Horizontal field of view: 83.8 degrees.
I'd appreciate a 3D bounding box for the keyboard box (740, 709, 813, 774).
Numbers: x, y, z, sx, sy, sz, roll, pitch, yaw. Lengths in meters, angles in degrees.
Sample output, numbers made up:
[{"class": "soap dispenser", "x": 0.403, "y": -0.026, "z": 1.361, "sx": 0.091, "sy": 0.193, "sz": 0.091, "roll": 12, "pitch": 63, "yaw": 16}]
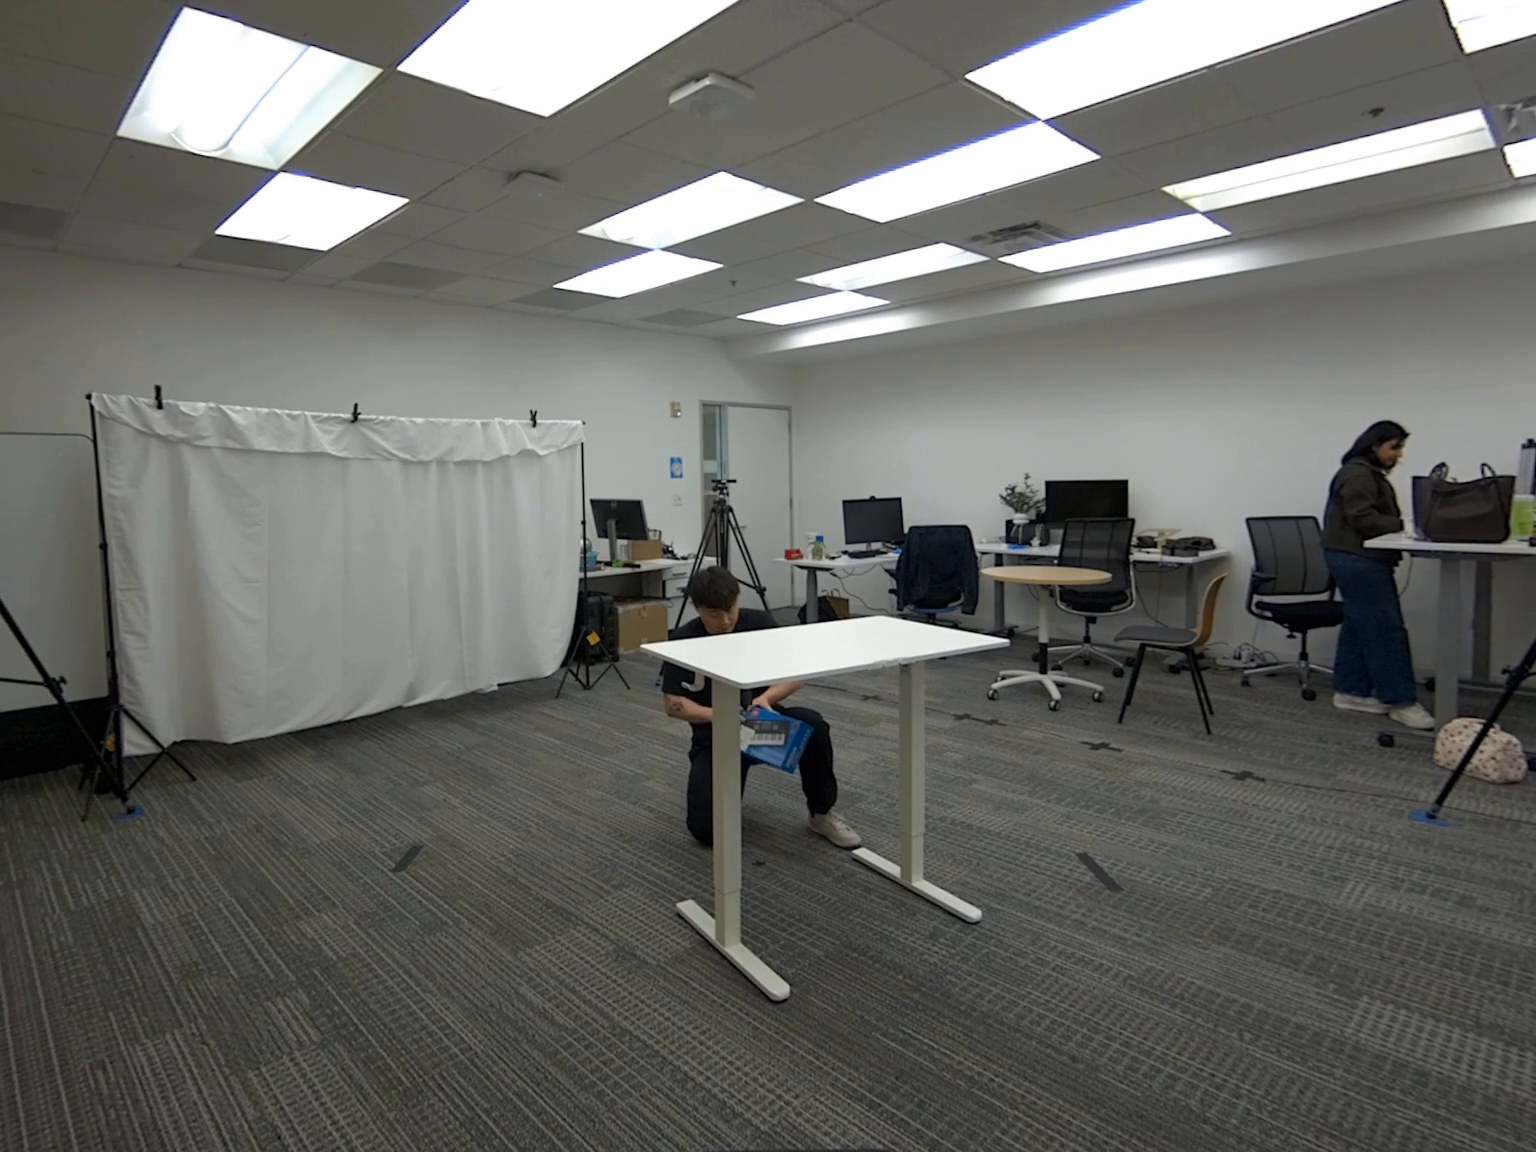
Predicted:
[{"class": "keyboard box", "x": -0.020, "y": 0.584, "z": 3.084, "sx": 0.057, "sy": 0.177, "sz": 0.447, "roll": 34, "pitch": -16, "yaw": -27}]
